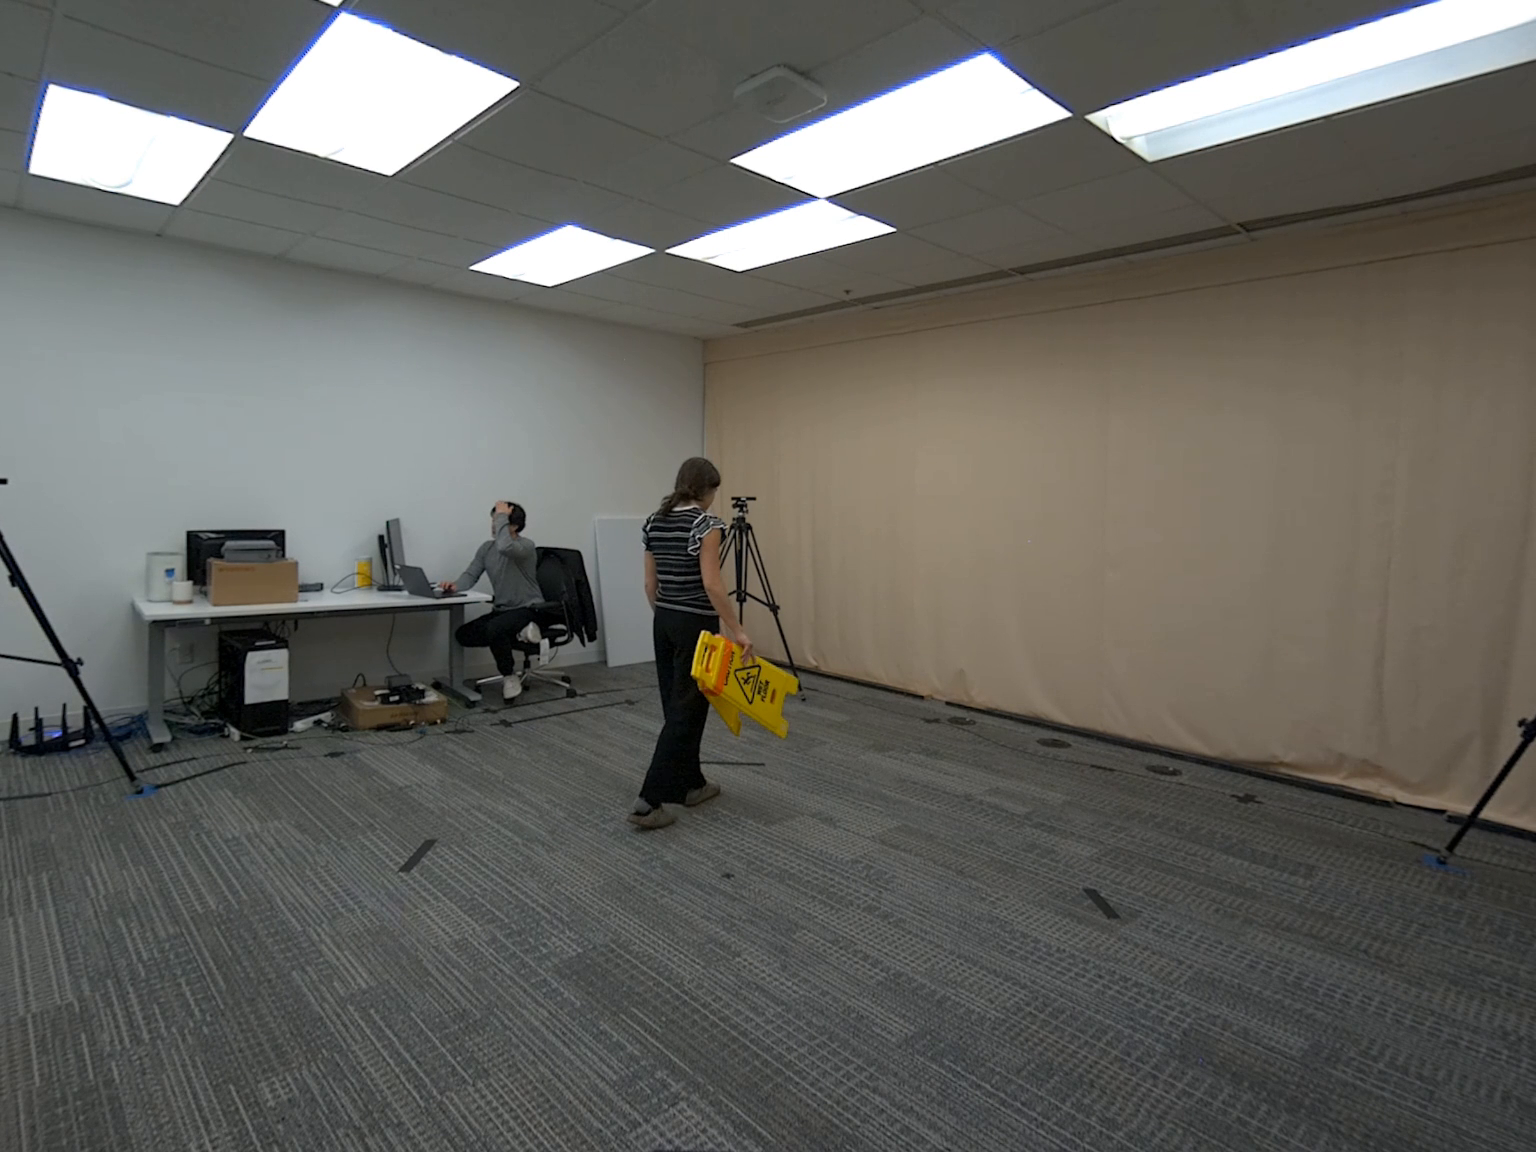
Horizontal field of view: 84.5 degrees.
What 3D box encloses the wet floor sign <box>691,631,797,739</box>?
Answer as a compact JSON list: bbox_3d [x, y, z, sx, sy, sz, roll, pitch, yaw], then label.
[{"bbox_3d":[-0.145,0.456,3.596,0.295,0.286,0.626,-2,-29,27],"label":"wet floor sign"}]
